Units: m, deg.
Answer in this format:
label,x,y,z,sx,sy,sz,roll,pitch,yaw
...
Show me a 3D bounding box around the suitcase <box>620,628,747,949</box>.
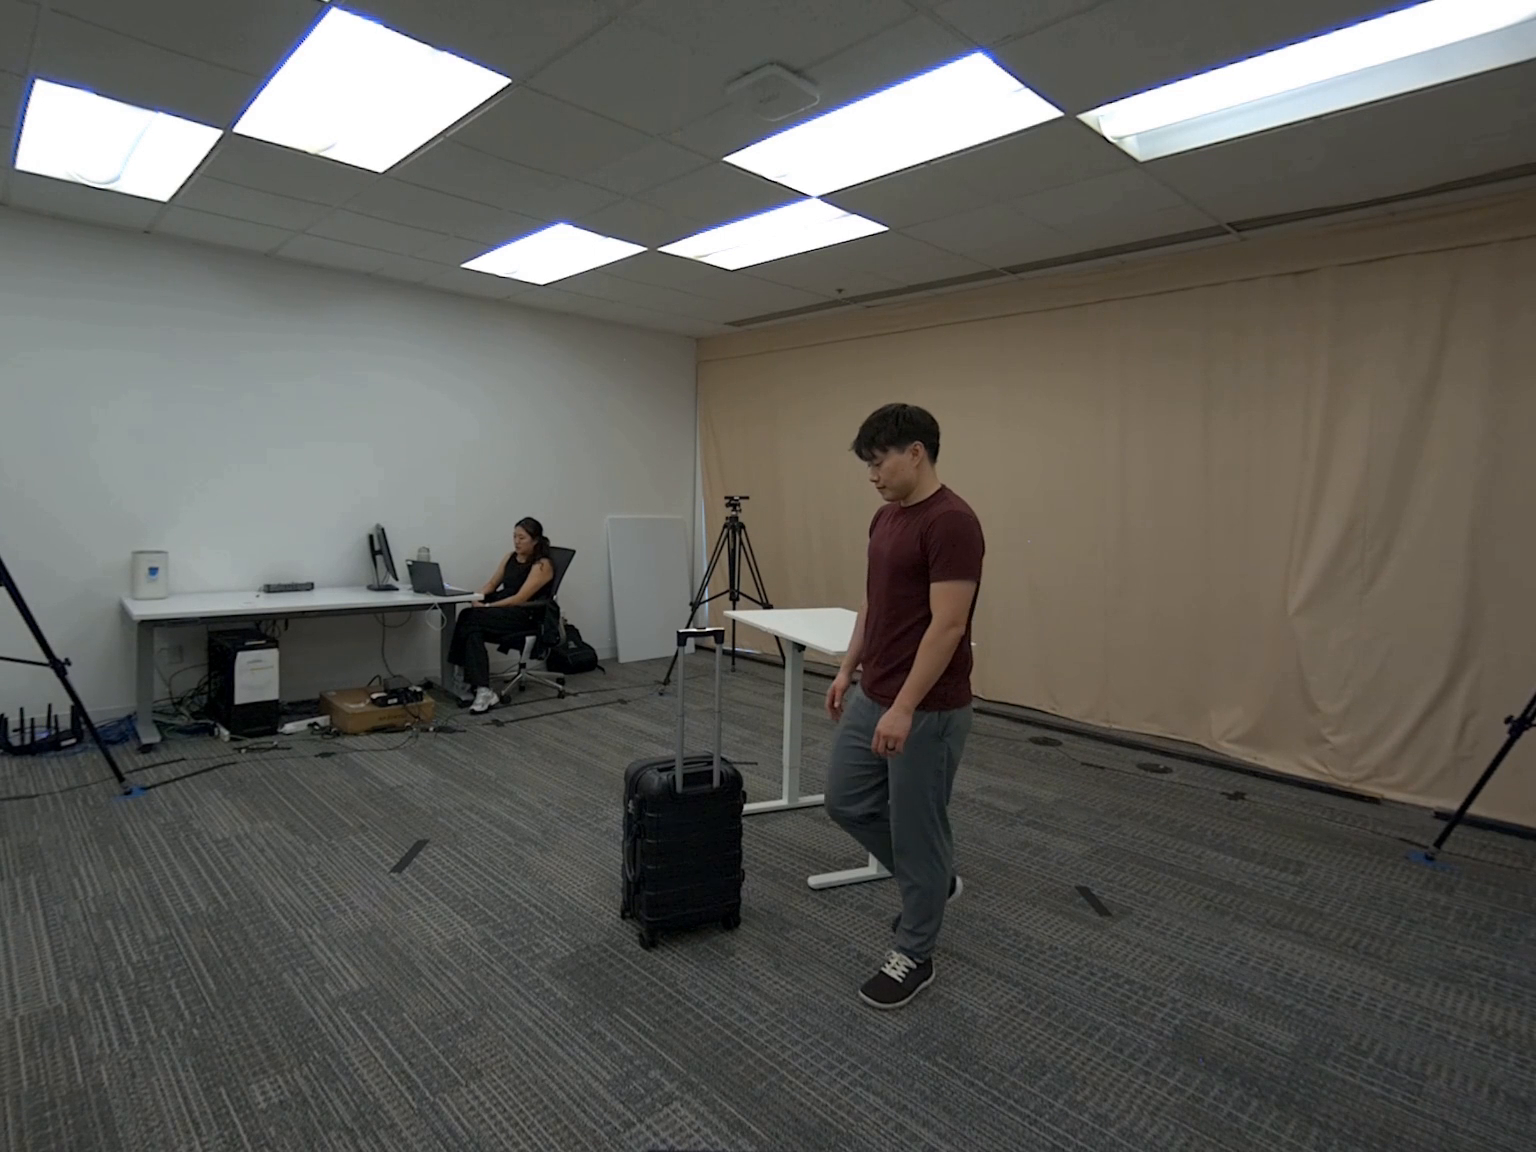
label,x,y,z,sx,sy,sz,roll,pitch,yaw
suitcase,-0.281,0.660,2.712,0.377,0.976,0.262,0,3,-25
